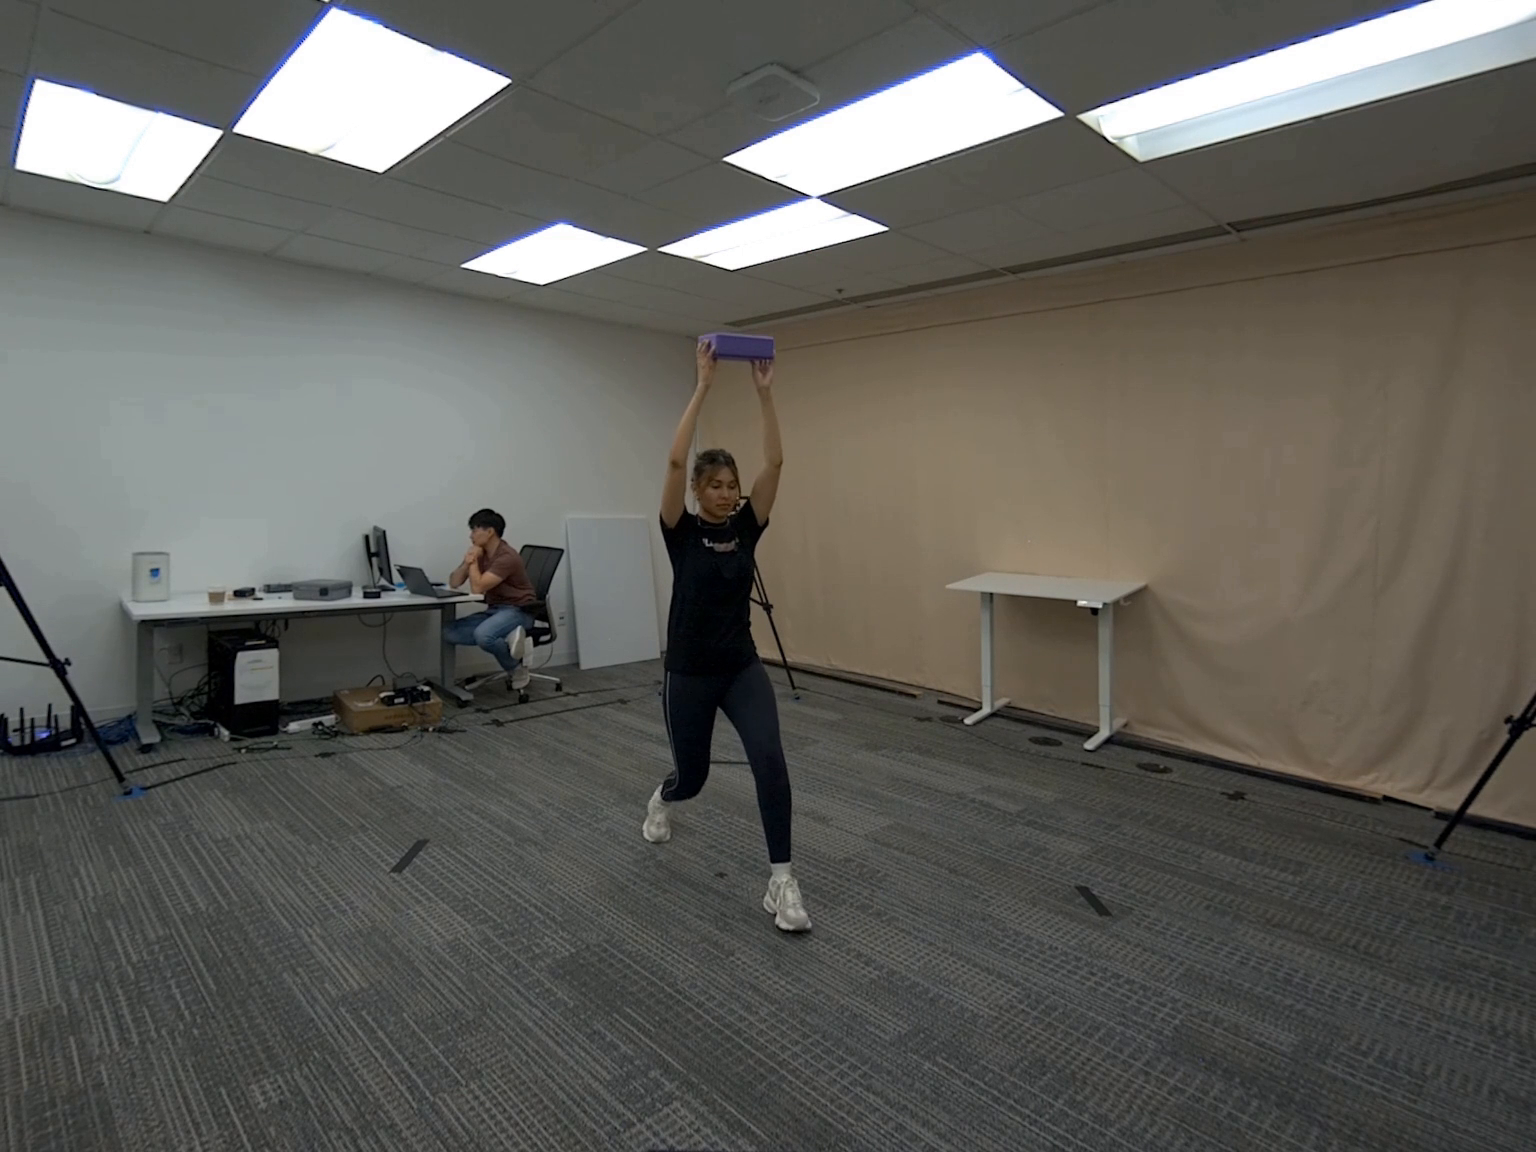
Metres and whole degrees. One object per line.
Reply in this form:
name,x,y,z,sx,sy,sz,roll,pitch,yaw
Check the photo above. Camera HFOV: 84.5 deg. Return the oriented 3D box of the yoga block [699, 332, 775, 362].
yoga block,-0.112,-0.794,2.906,0.225,0.076,0.153,-4,11,-28
